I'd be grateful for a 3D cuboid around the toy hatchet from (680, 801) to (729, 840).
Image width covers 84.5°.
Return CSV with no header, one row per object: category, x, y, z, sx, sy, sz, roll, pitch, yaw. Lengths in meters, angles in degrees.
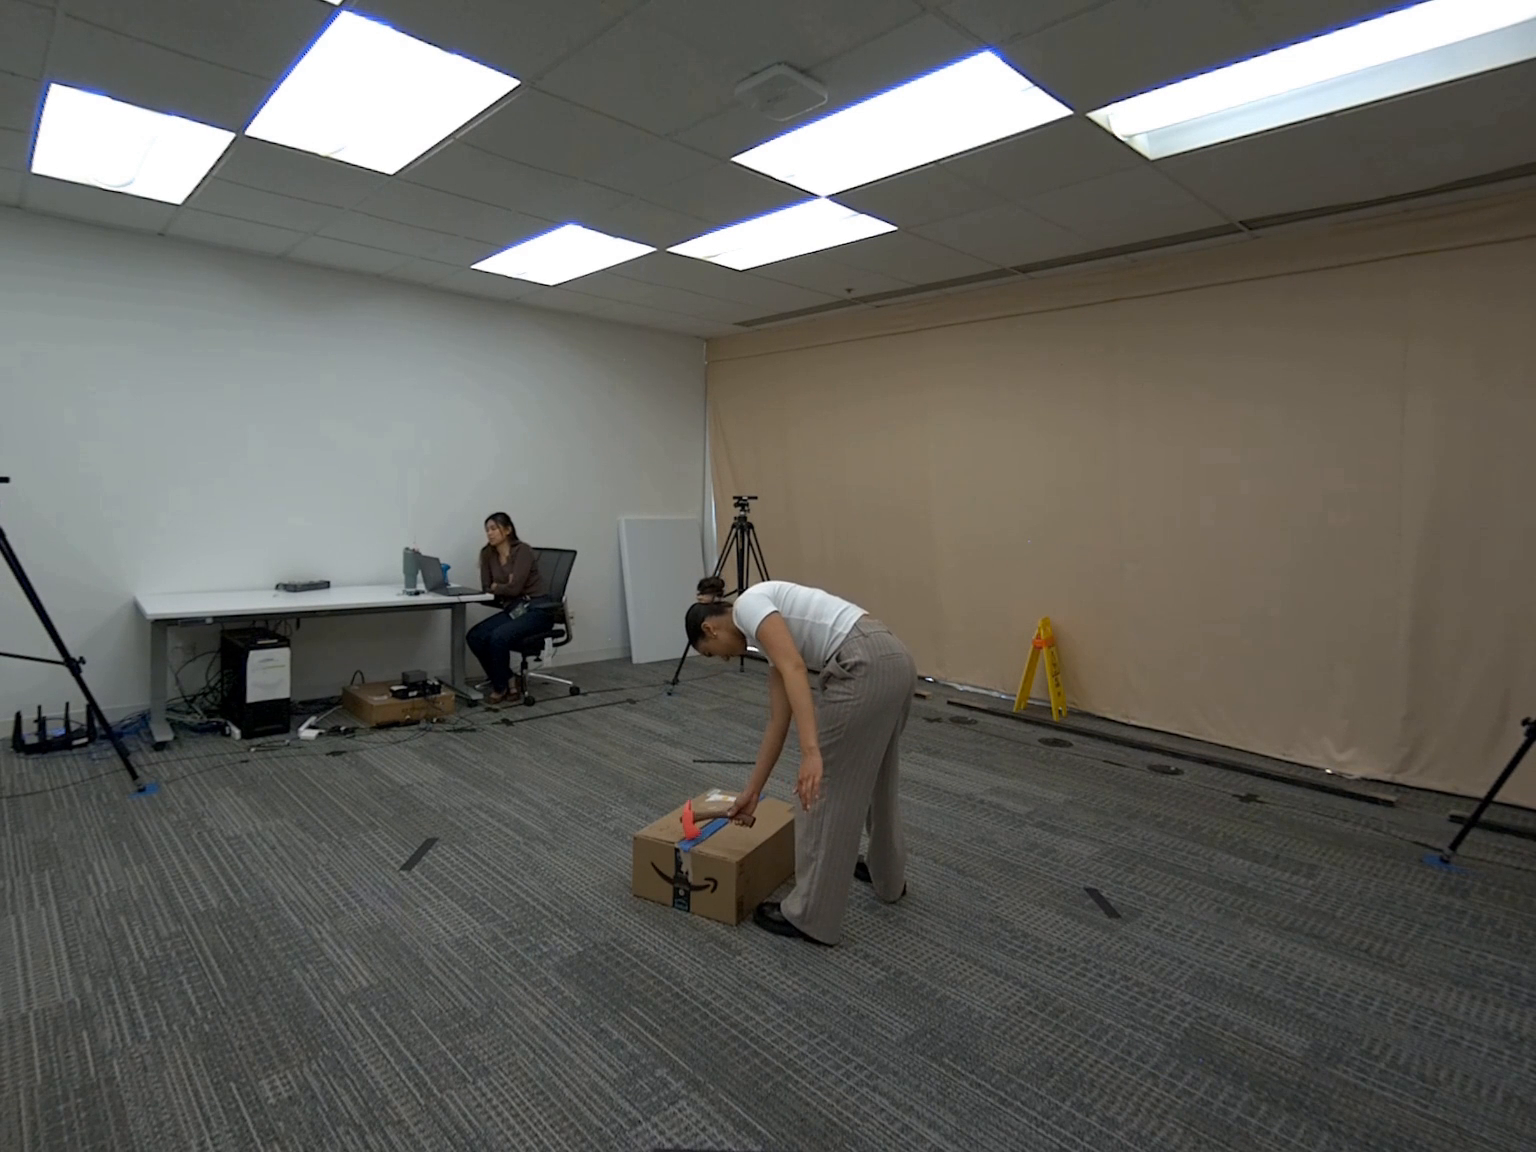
toy hatchet,-0.182,0.848,2.852,0.276,0.132,0.029,7,-29,28
